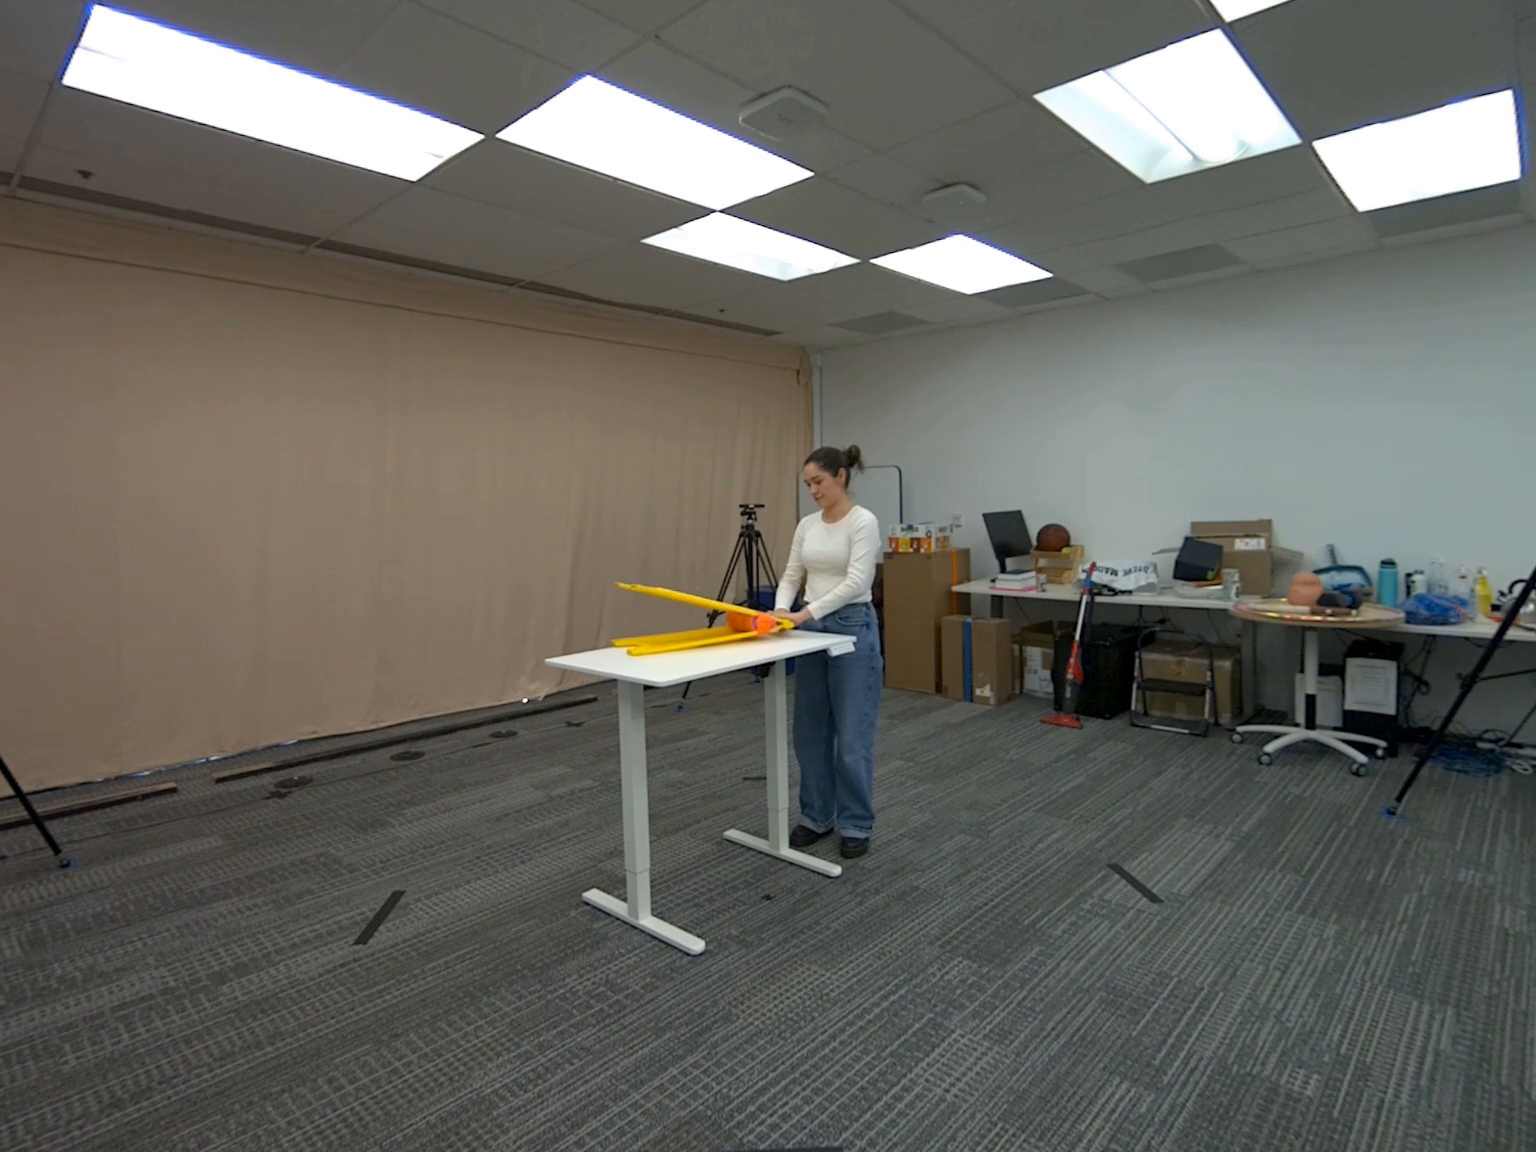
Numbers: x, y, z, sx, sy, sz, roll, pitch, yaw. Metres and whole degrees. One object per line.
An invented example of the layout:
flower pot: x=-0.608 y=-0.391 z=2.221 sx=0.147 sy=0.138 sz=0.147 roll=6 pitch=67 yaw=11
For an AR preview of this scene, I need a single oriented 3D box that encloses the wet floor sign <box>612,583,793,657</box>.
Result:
wet floor sign: x=-0.221 y=0.177 z=3.141 sx=0.630 sy=0.290 sz=0.289 roll=3 pitch=-1 yaw=-24
